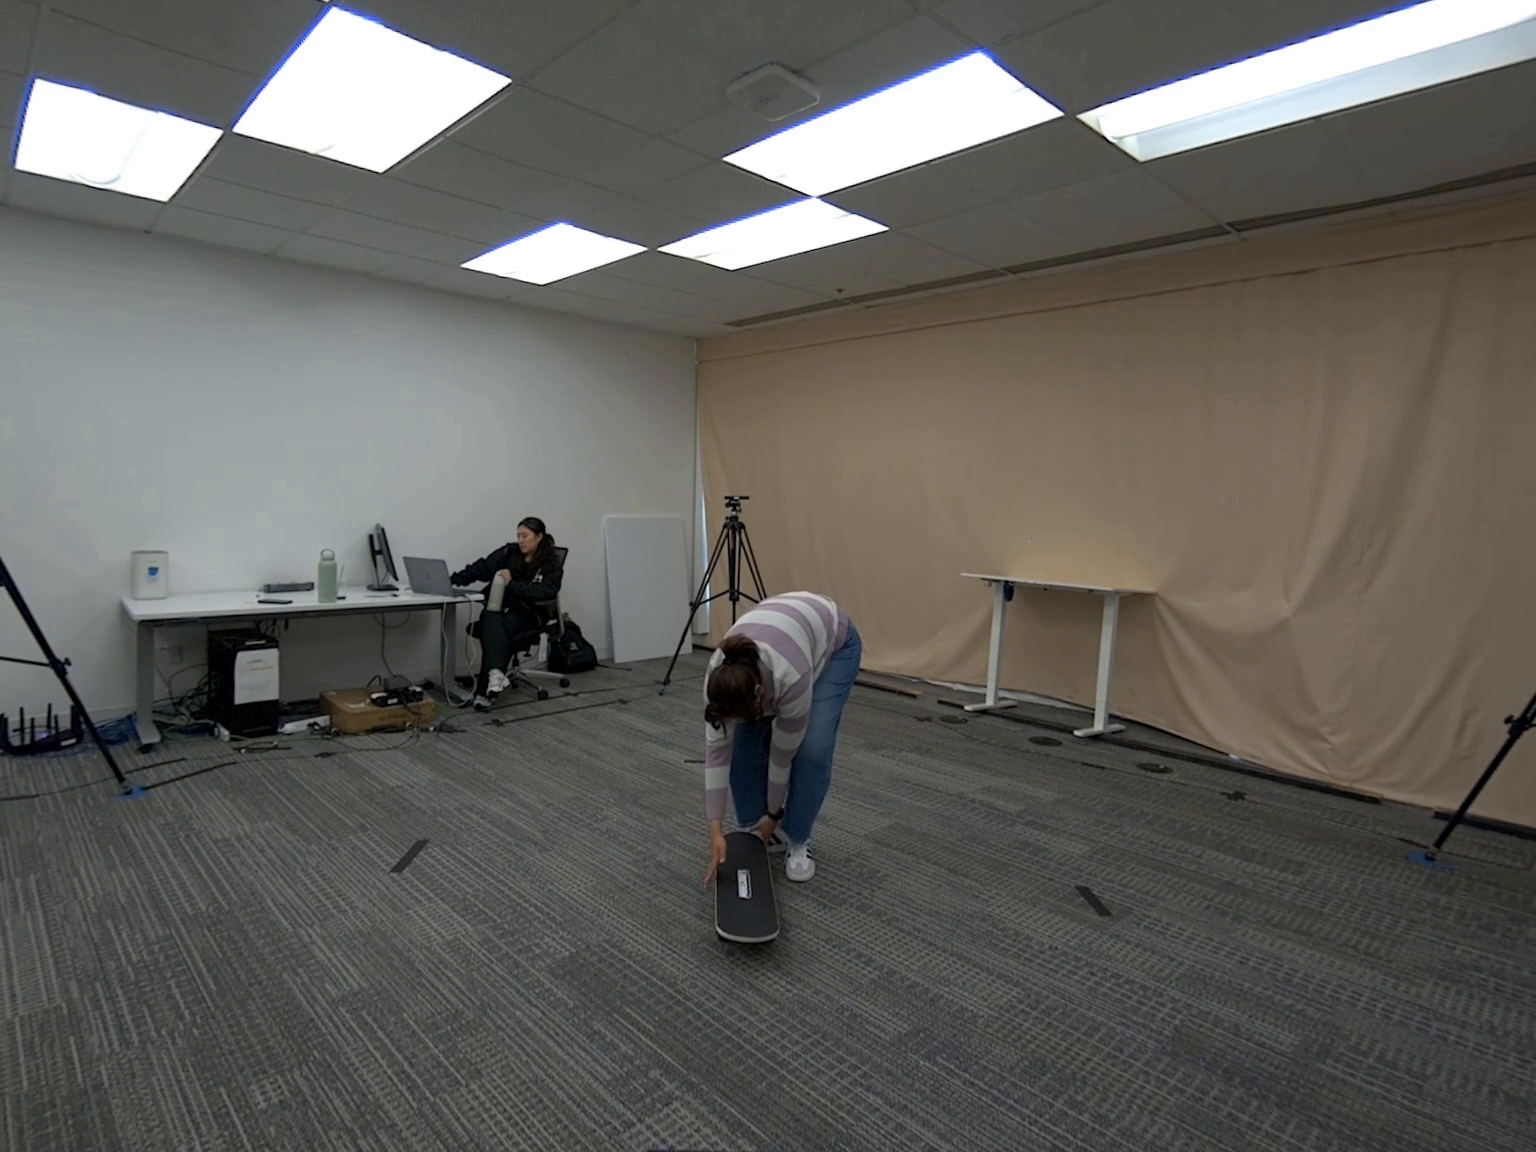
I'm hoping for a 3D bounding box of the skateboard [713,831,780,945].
[{"bbox_3d":[-0.096,1.072,2.843,0.193,0.110,0.790,1,5,-5],"label":"skateboard"}]
